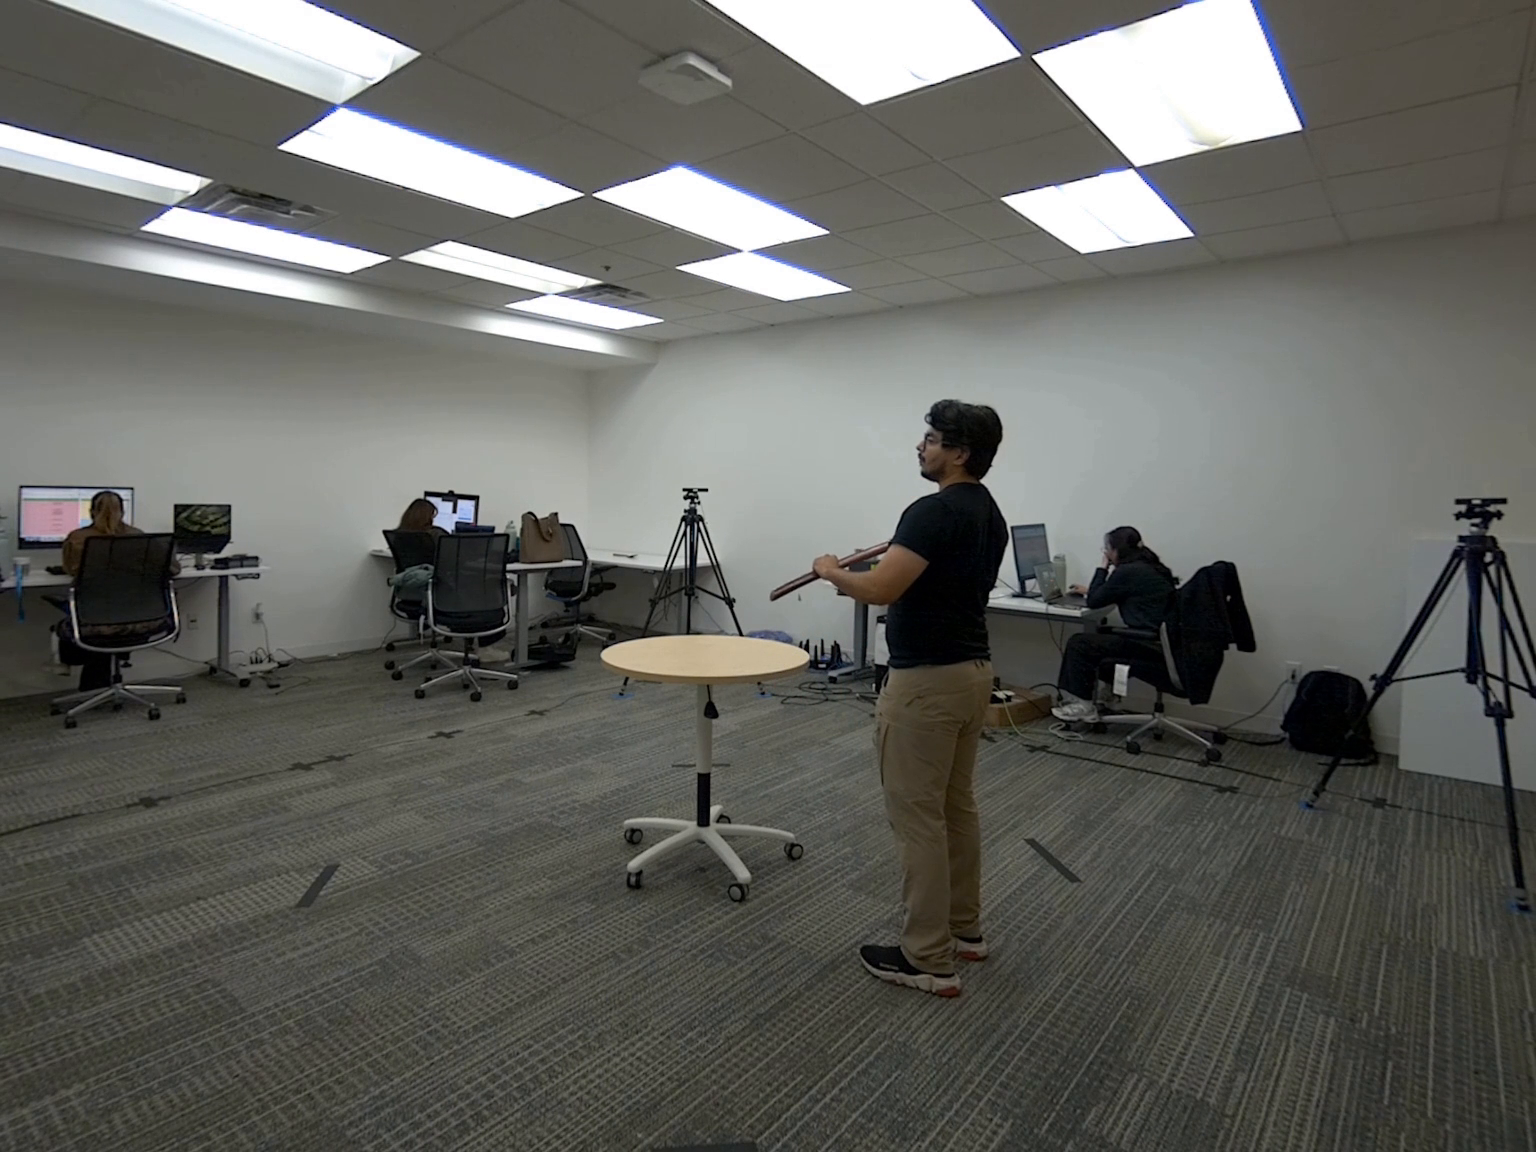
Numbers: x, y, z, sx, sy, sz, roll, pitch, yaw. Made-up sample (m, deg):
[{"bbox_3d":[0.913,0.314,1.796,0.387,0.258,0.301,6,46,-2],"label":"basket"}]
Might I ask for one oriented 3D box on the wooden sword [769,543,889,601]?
[{"bbox_3d":[0.301,-0.069,2.800,0.053,0.024,1.002,1,13,41],"label":"wooden sword"}]
